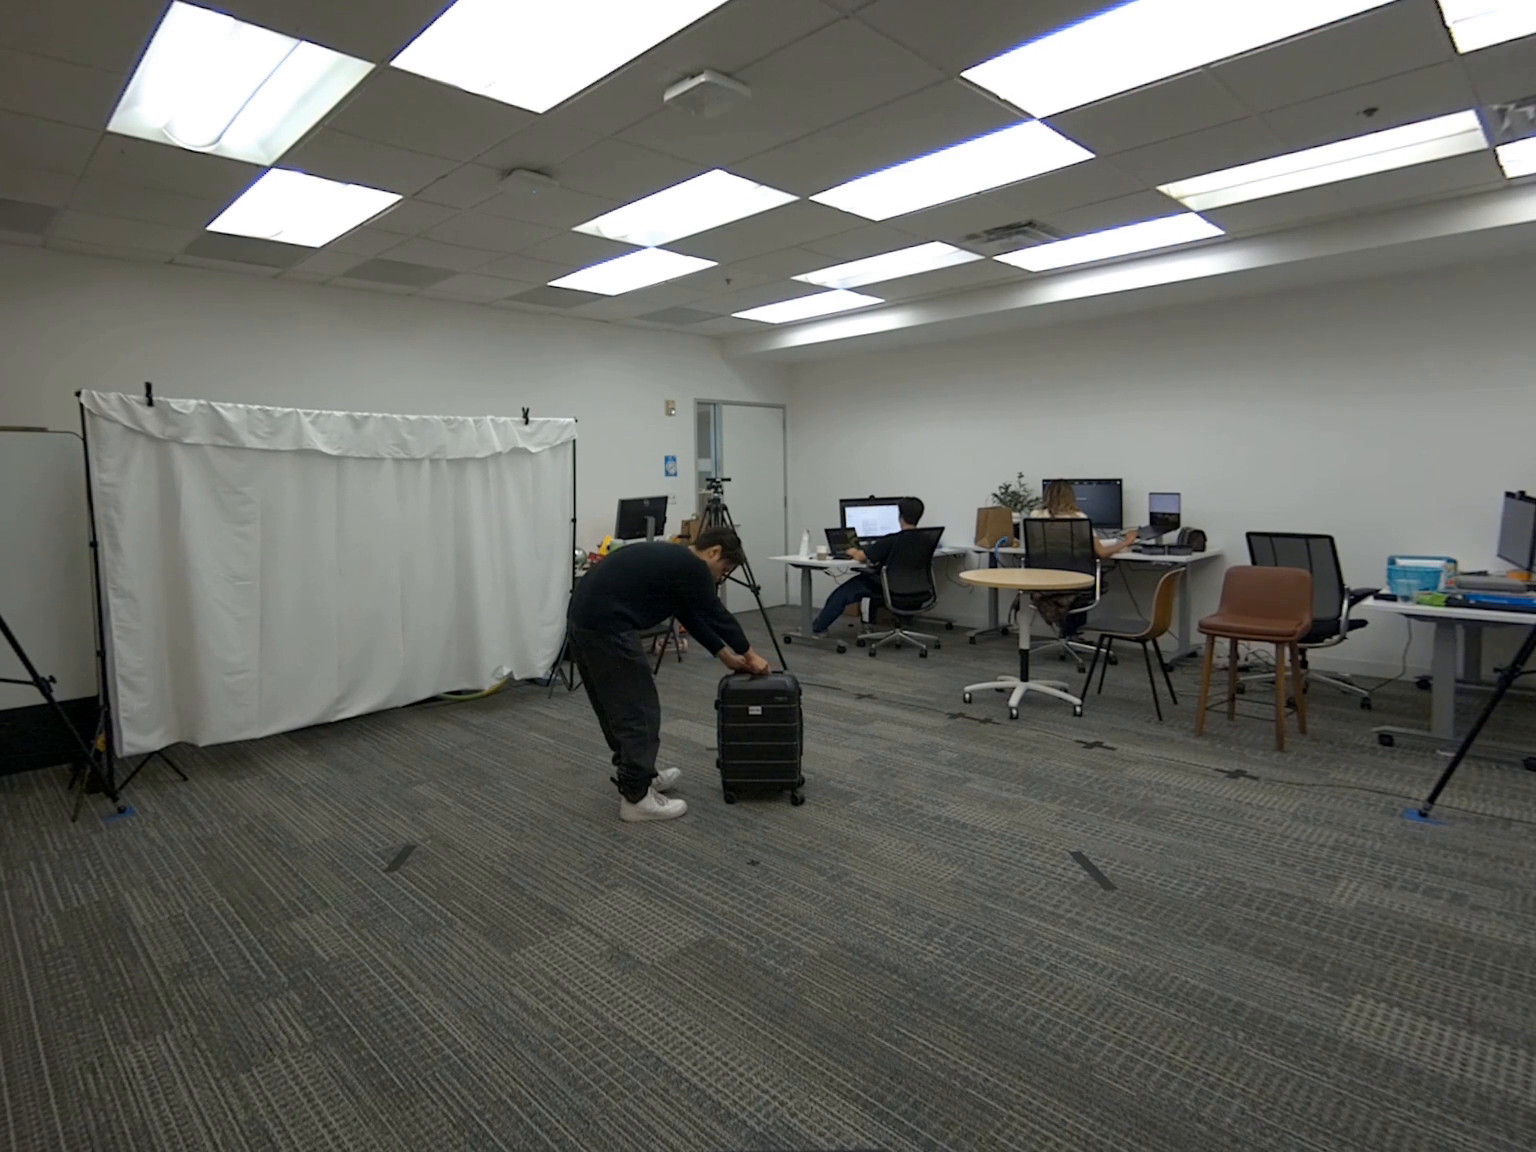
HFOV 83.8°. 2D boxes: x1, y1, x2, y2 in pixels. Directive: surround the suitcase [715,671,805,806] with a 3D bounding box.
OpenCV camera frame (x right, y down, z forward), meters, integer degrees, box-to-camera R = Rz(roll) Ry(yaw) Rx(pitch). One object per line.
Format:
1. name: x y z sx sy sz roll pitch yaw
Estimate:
1. suitcase: -0.033 0.693 3.776 0.376 0.547 0.249 -2 5 2
